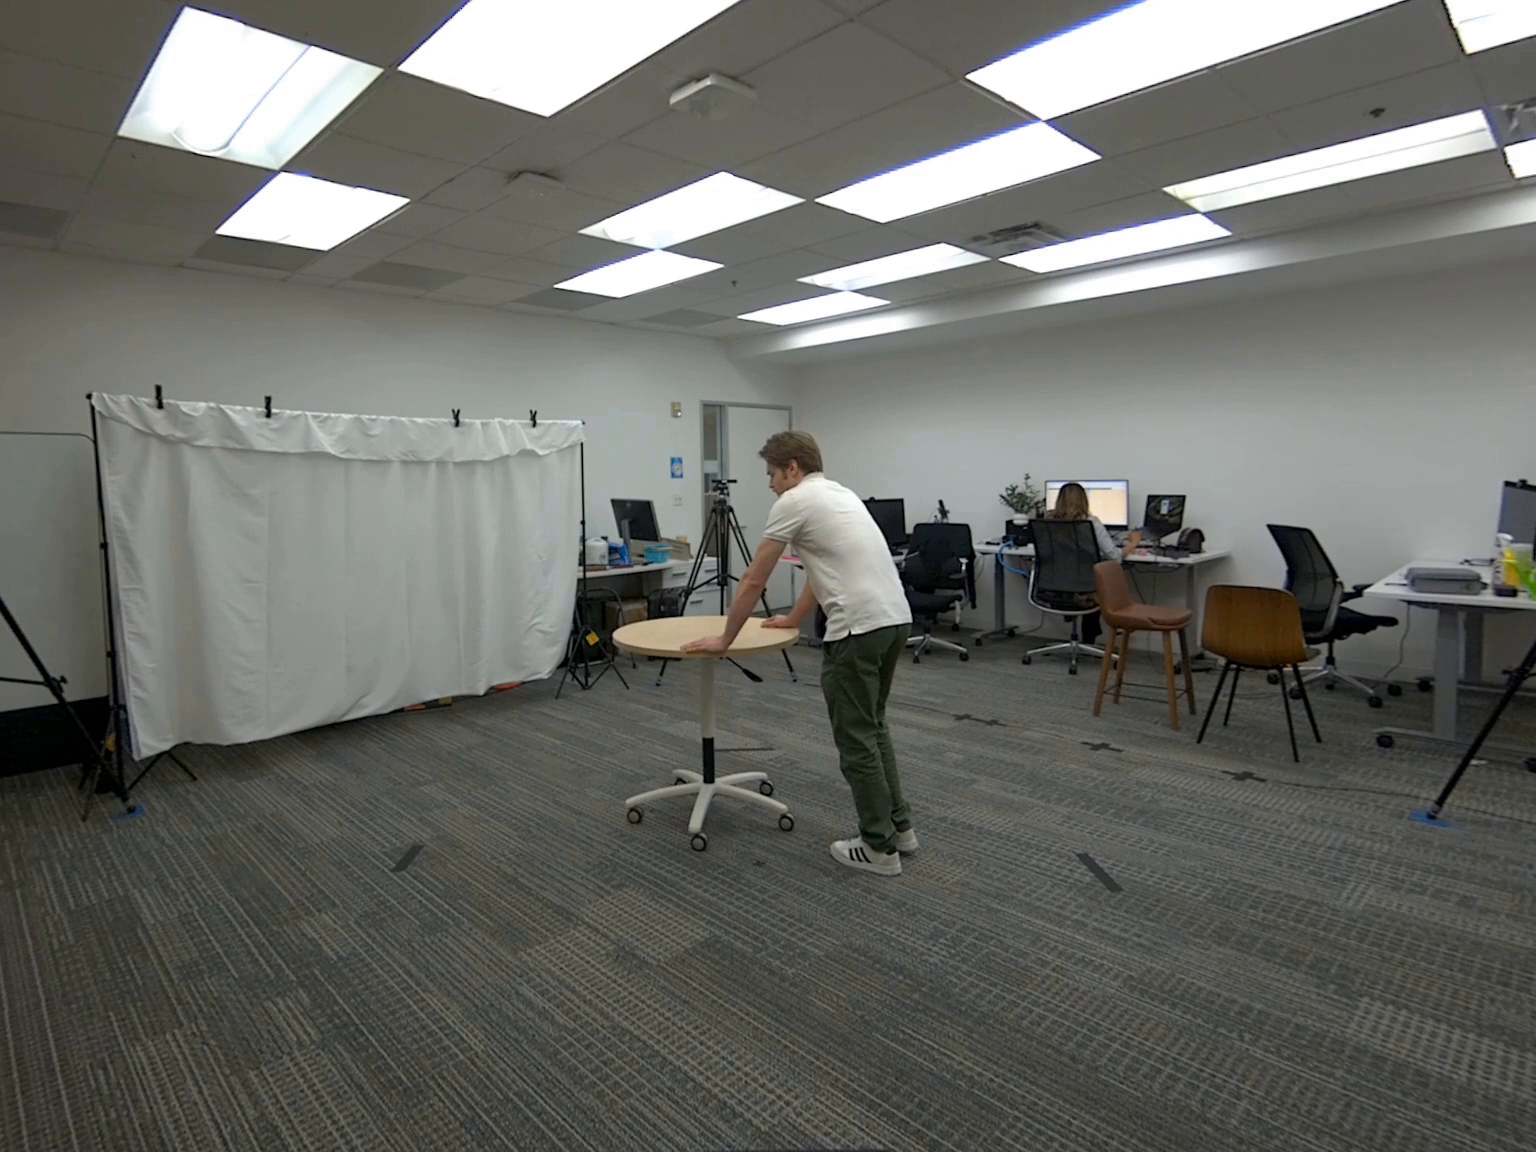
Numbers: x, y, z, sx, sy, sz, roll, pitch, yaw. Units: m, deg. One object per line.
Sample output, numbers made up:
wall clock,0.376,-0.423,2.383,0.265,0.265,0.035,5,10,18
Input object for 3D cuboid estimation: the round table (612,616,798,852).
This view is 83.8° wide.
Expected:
round table,-0.245,0.617,3.552,0.763,0.791,0.768,-1,5,-2
